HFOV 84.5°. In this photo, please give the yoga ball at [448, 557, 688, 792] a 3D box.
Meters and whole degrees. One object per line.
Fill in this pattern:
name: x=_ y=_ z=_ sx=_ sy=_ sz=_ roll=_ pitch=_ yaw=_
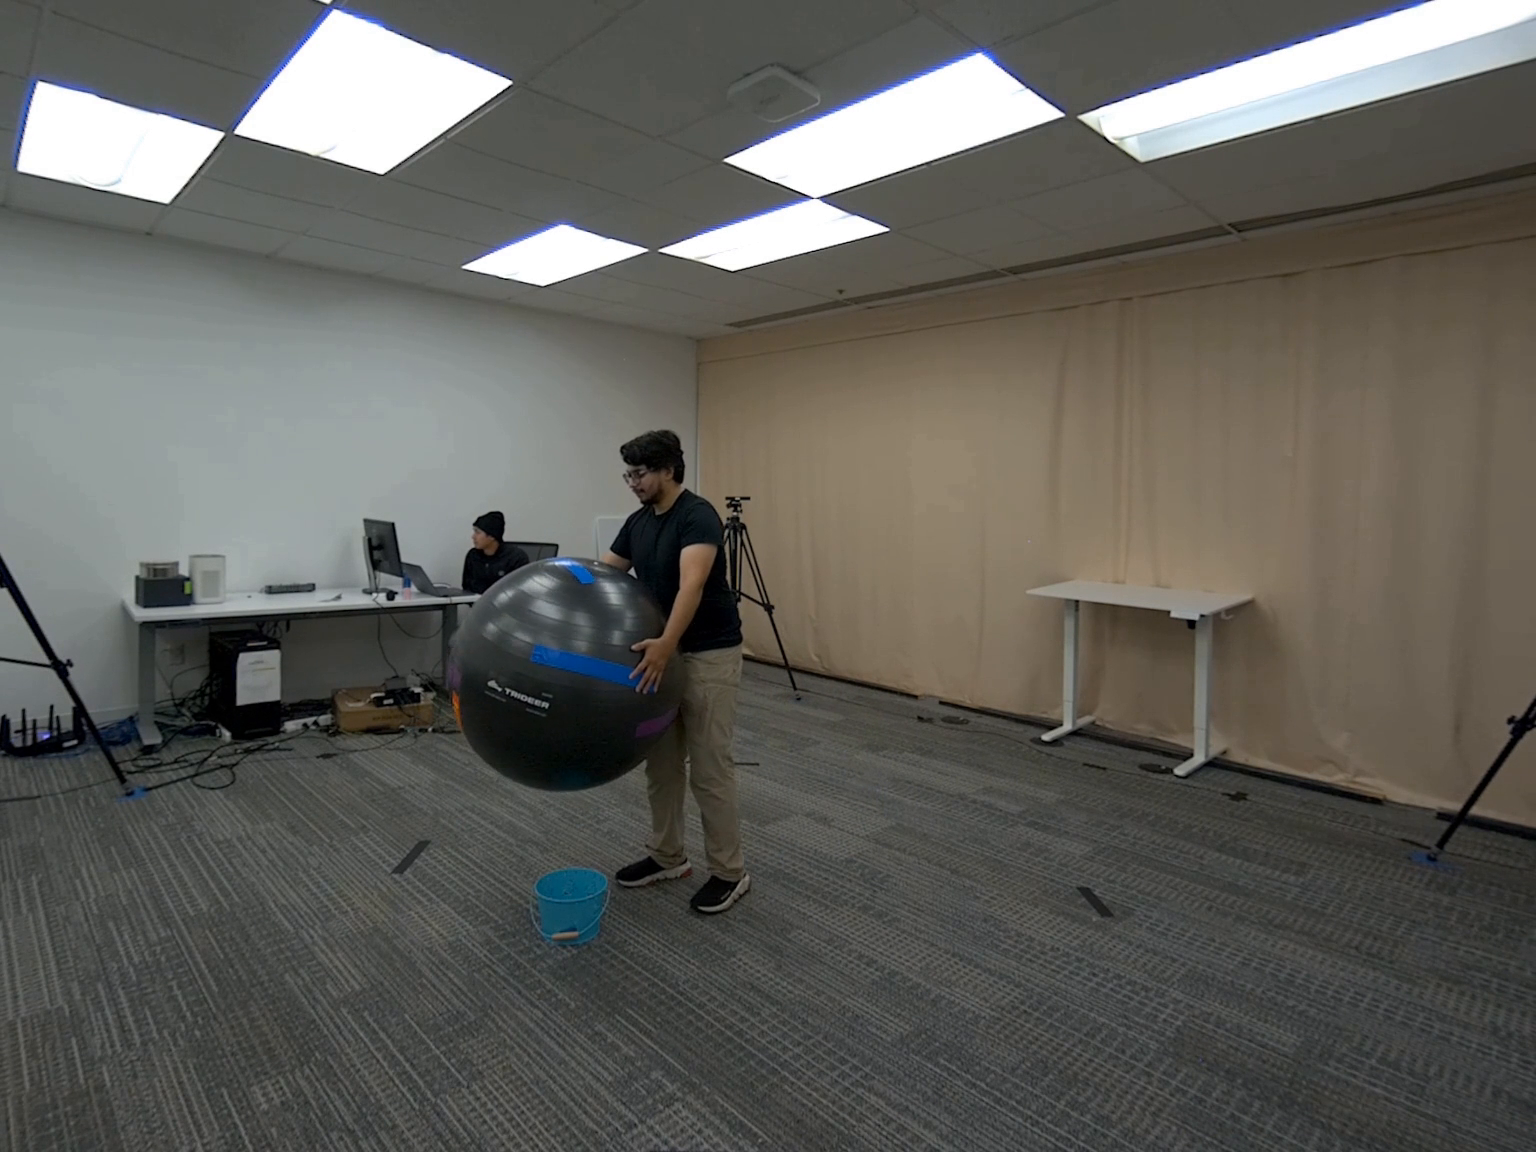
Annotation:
yoga ball: x=-0.670 y=0.330 z=2.762 sx=0.757 sy=0.756 sz=0.760 roll=1 pitch=4 yaw=-1
